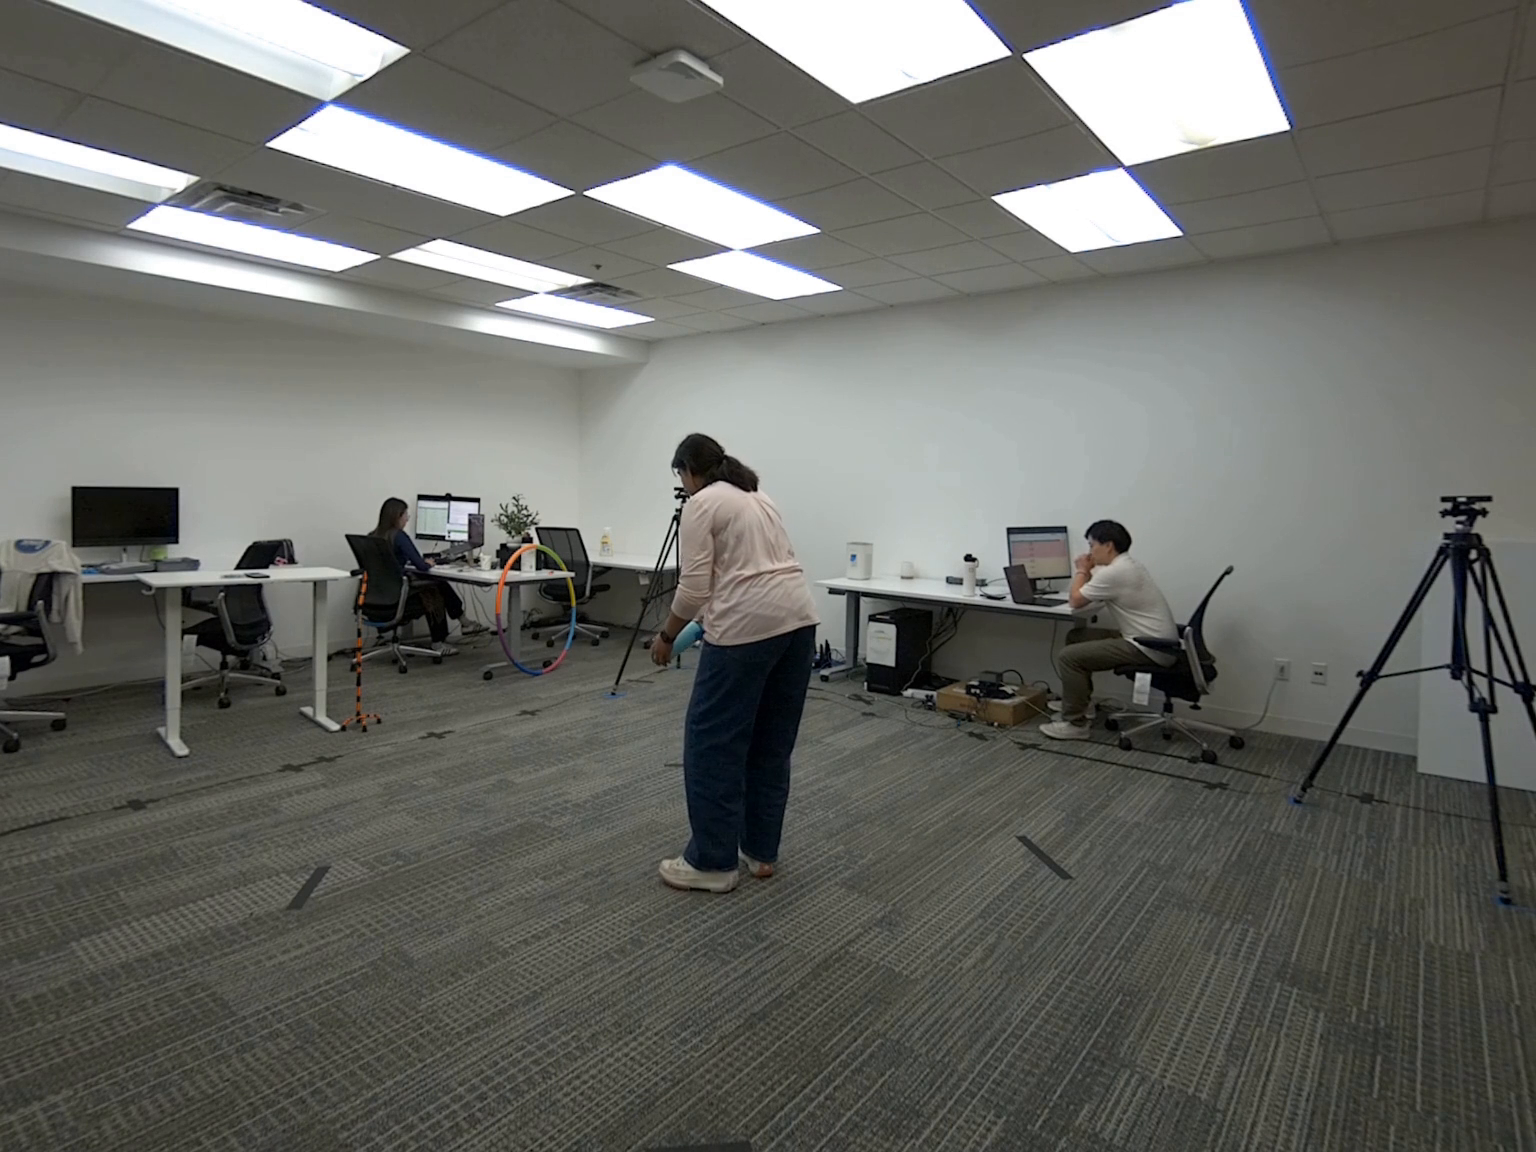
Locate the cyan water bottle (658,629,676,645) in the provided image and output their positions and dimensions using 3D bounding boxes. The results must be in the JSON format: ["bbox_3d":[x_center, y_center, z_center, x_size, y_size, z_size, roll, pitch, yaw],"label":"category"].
[{"bbox_3d":[-0.338,0.250,3.280,0.095,0.091,0.280,3,20,27],"label":"cyan water bottle"}]
